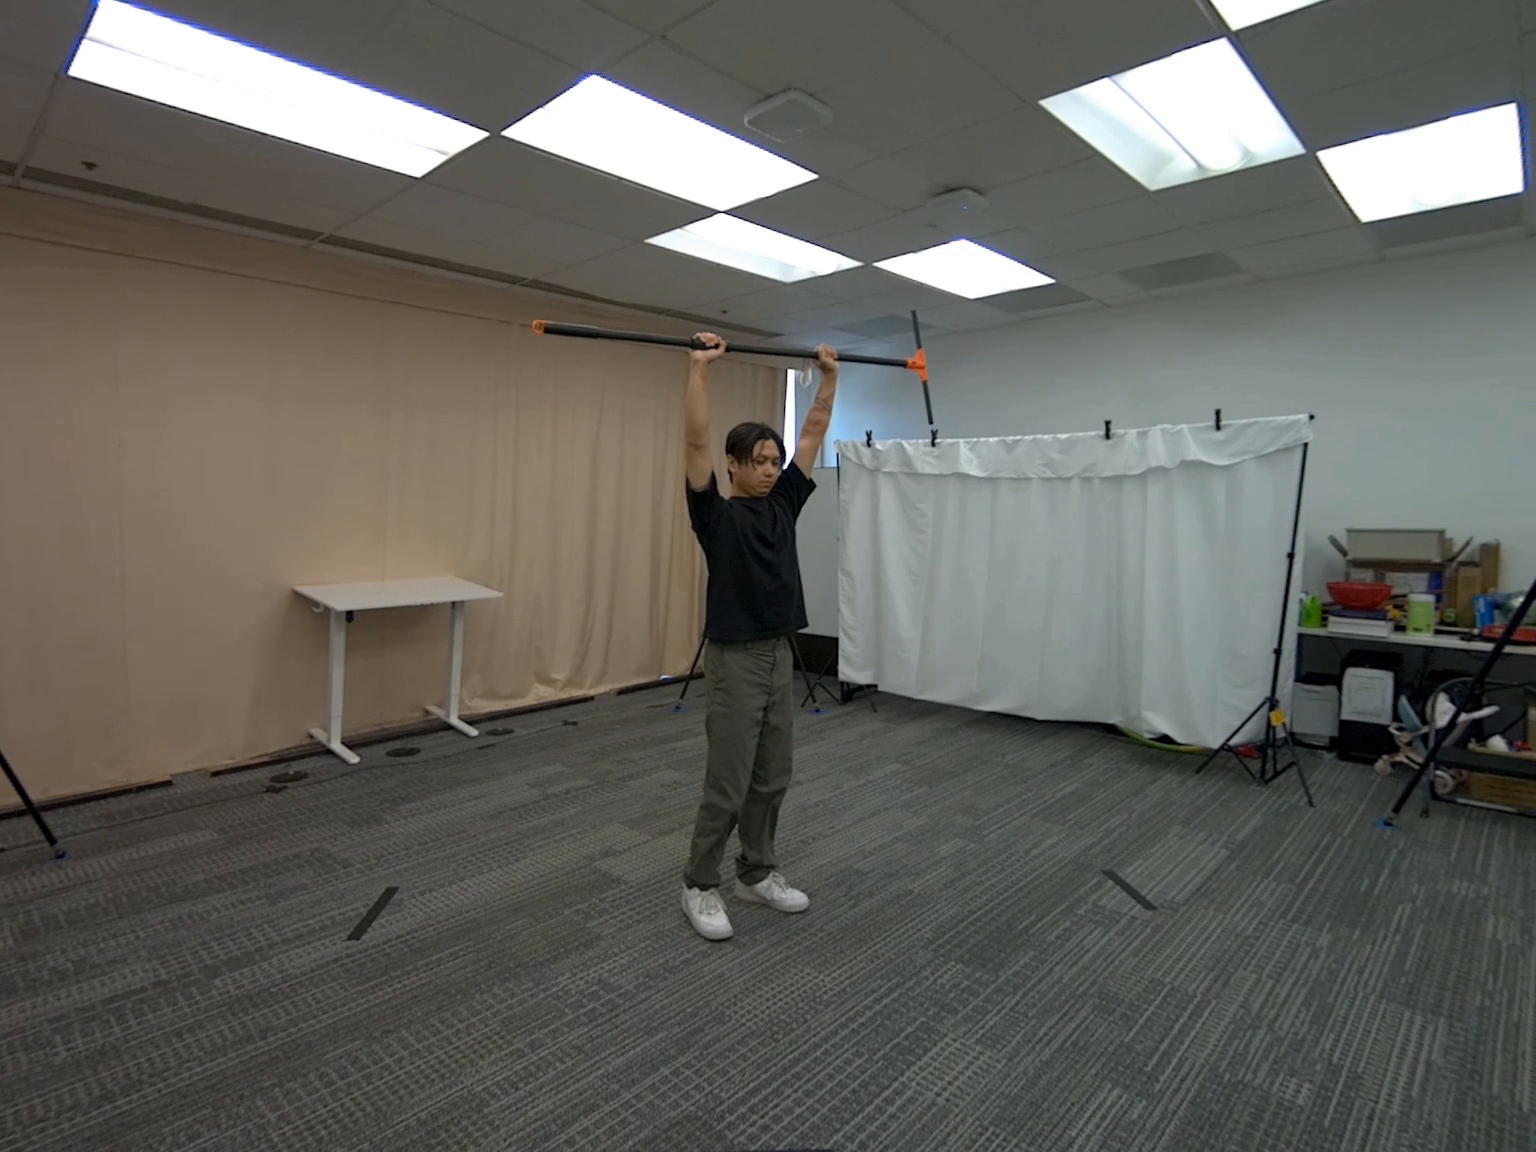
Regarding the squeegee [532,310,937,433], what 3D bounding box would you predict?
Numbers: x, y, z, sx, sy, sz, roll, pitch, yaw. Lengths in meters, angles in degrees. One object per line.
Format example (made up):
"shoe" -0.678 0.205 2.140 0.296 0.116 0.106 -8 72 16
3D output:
"squeegee" -0.016 -0.729 2.718 1.494 0.439 0.054 -5 -6 -35
